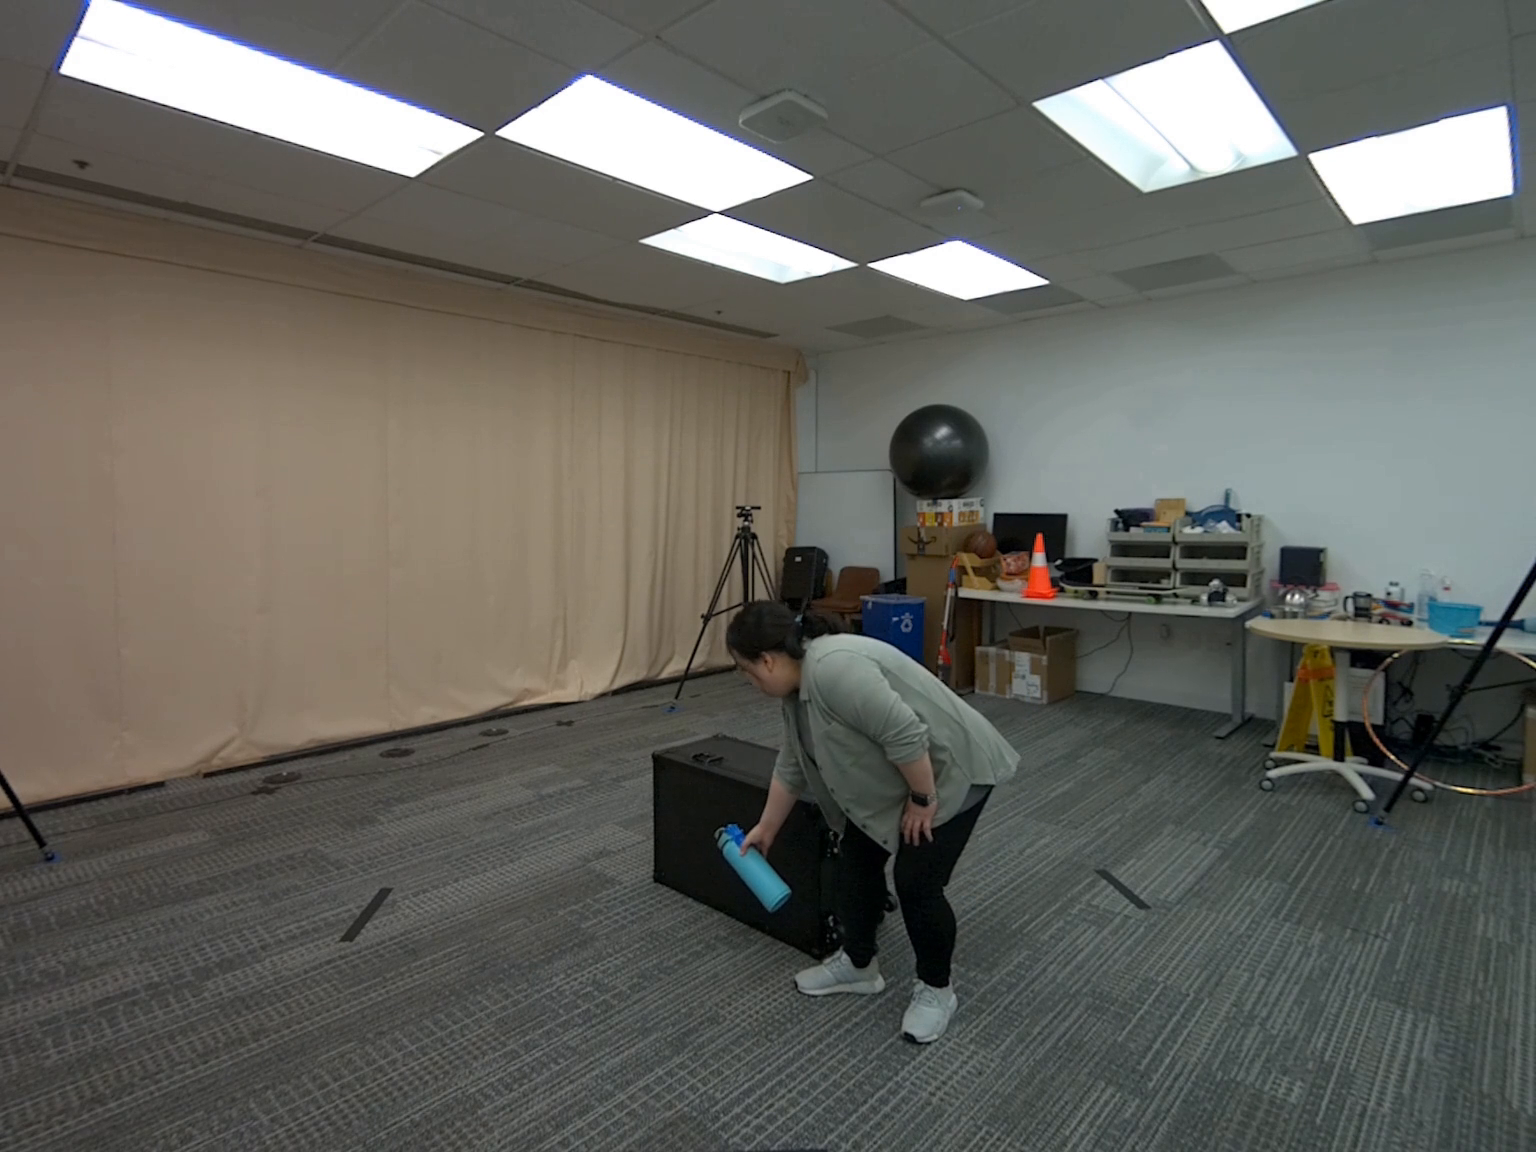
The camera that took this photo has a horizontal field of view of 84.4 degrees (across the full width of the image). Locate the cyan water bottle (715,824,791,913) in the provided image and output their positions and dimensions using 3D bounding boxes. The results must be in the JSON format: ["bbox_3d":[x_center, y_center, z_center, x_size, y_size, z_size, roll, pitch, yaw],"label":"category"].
[{"bbox_3d":[-0.052,0.870,2.573,0.292,0.092,0.089,44,27,28],"label":"cyan water bottle"}]
